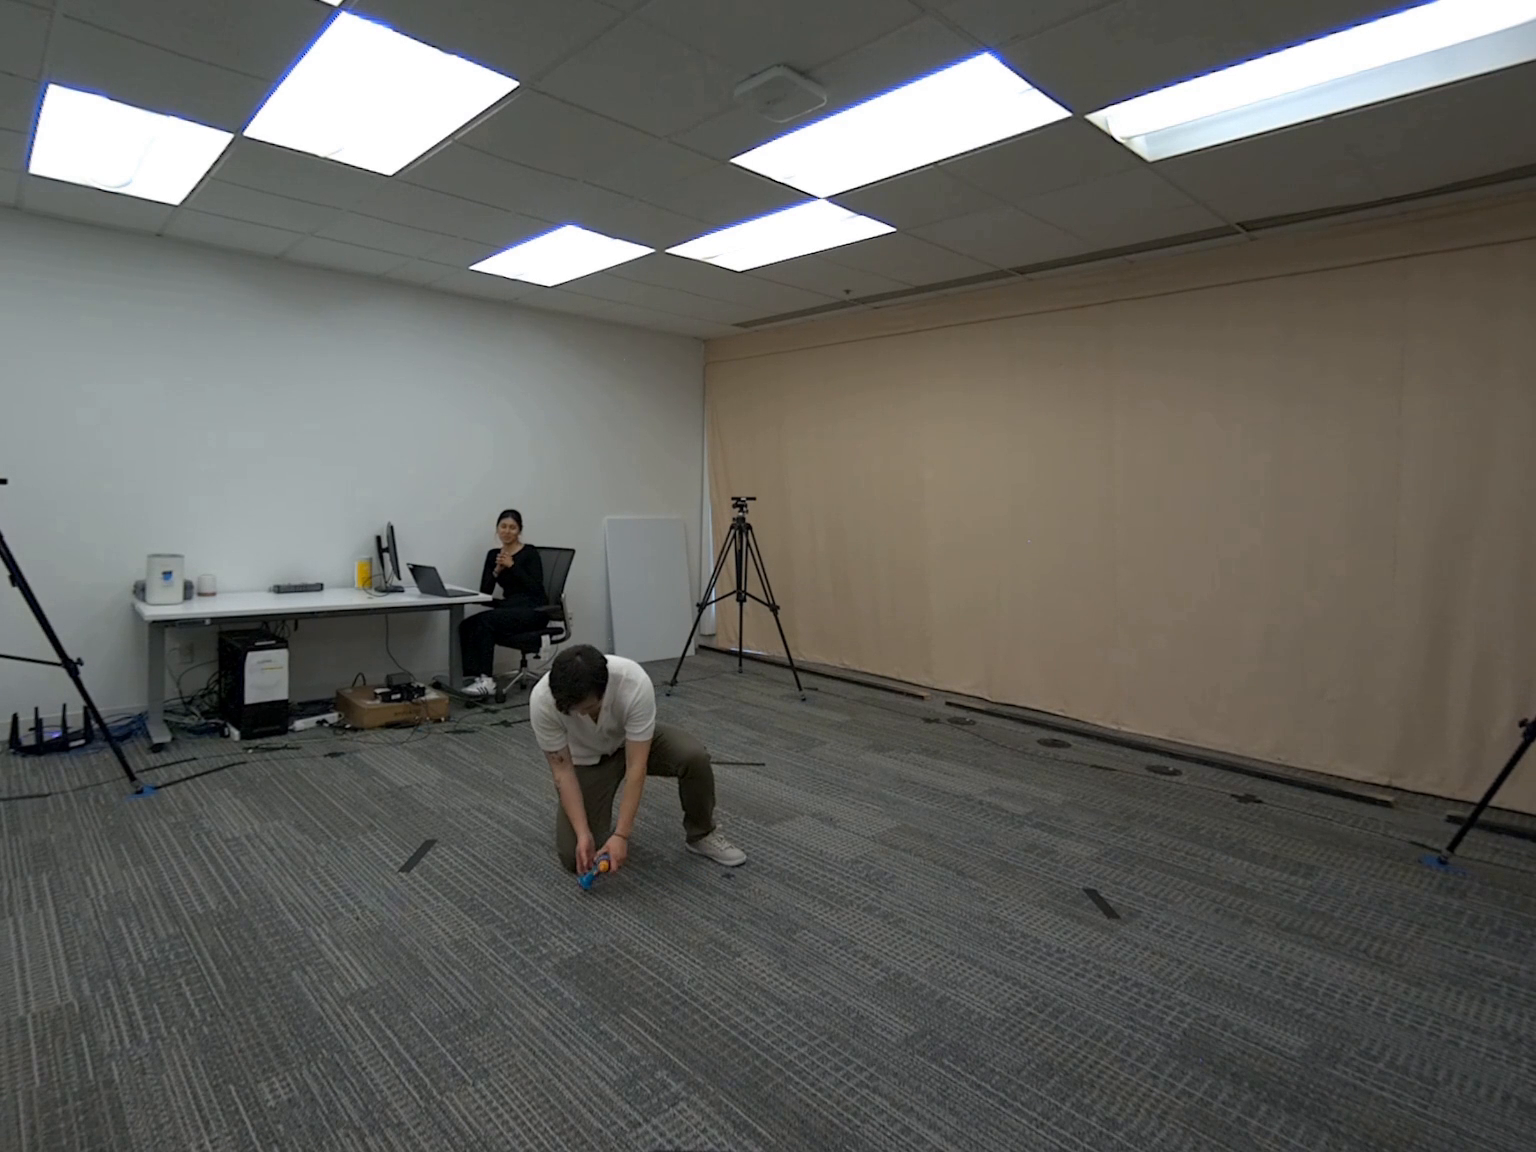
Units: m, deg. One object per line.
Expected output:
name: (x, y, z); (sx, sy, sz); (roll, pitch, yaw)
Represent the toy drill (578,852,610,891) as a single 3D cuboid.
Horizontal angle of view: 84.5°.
toy drill: (-0.591, 1.020, 2.896); (0.061, 0.146, 0.169); (40, -9, 2)
